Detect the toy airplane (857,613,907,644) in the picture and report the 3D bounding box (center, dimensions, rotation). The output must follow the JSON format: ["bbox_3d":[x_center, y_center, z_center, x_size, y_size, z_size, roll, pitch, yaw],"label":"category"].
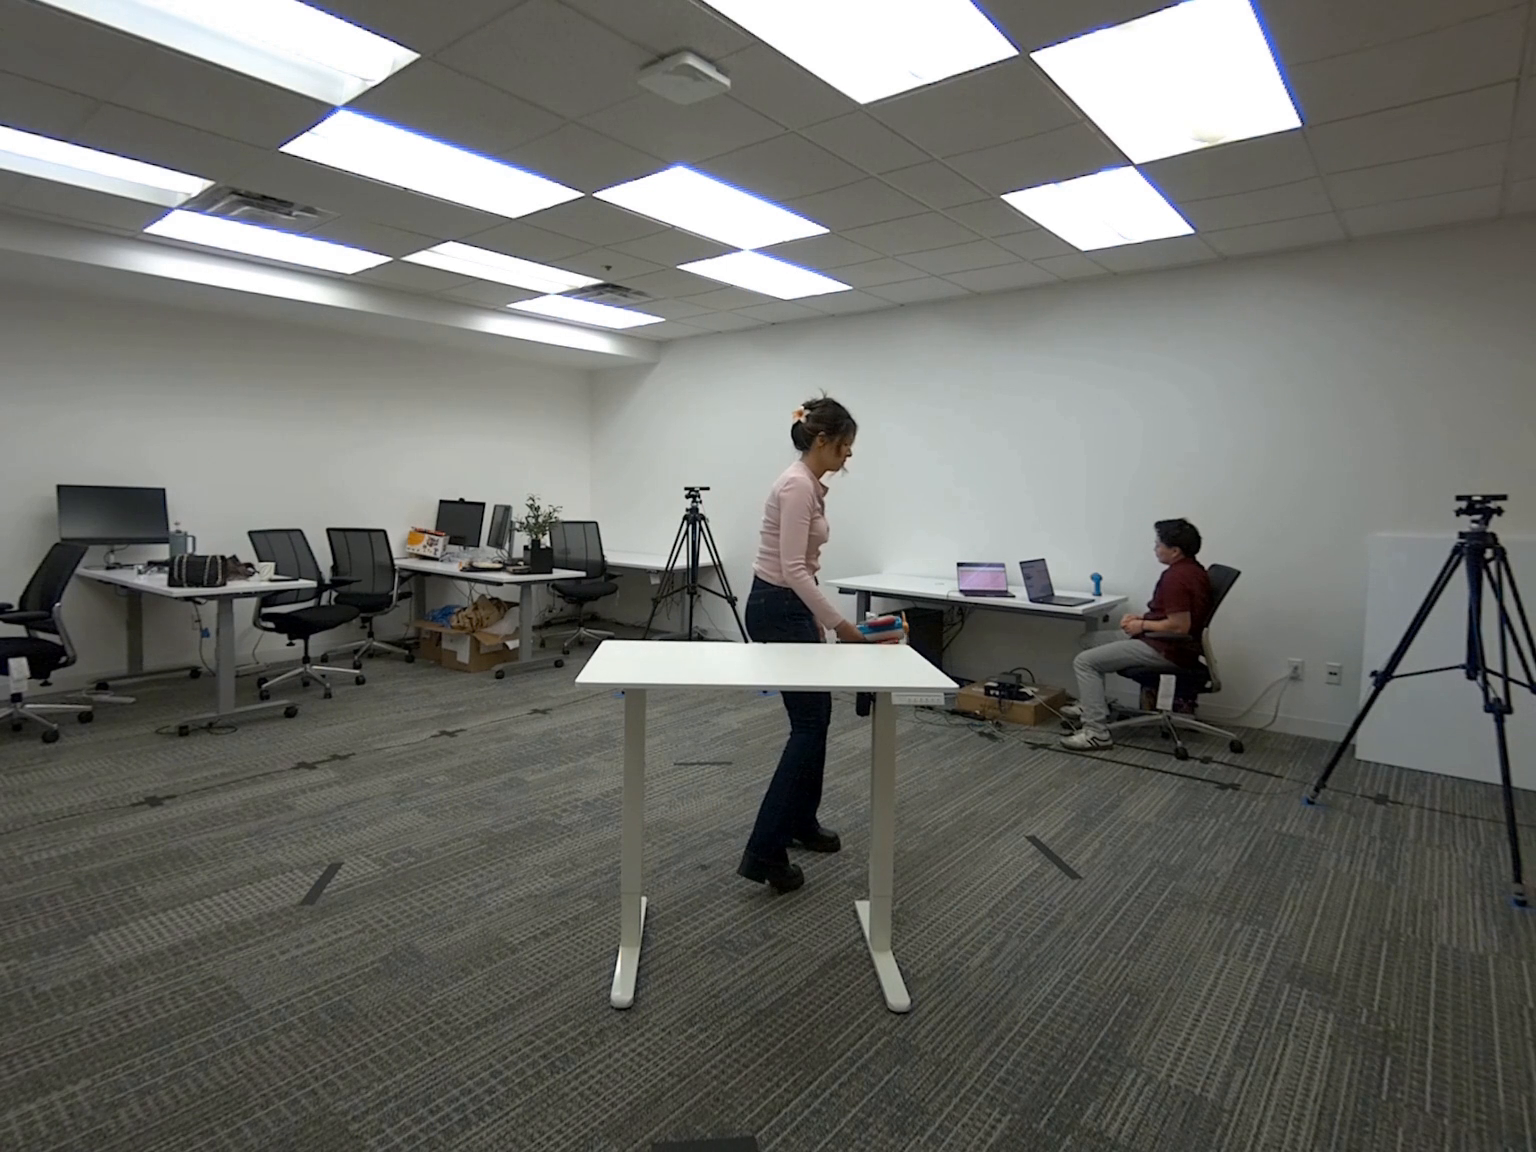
[{"bbox_3d":[0.366,0.216,3.027,0.253,0.157,0.256,6,-3,-22],"label":"toy airplane"}]
